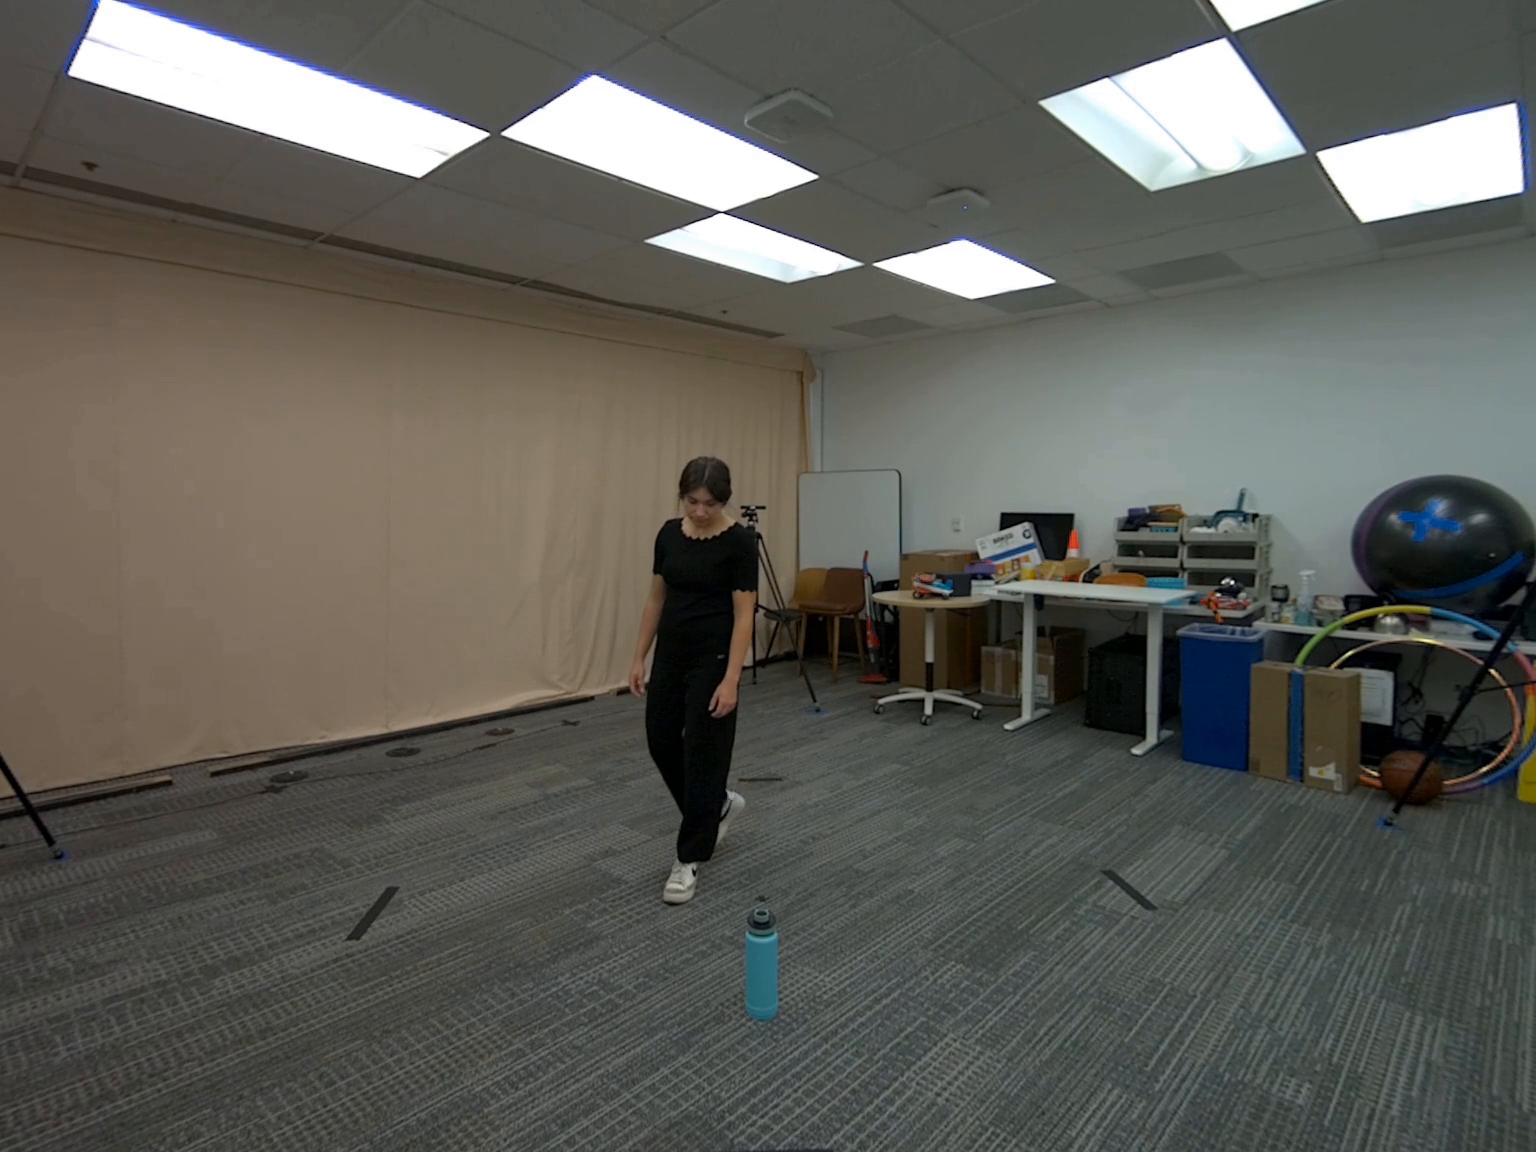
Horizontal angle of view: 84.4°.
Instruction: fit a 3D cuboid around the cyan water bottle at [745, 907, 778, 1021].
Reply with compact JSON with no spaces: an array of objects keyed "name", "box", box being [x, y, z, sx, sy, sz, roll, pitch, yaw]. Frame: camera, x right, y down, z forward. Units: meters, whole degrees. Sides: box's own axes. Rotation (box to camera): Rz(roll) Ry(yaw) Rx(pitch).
[{"name":"cyan water bottle","box":[-0.018,1.060,2.309,0.092,0.283,0.092,0,2,-2]}]
